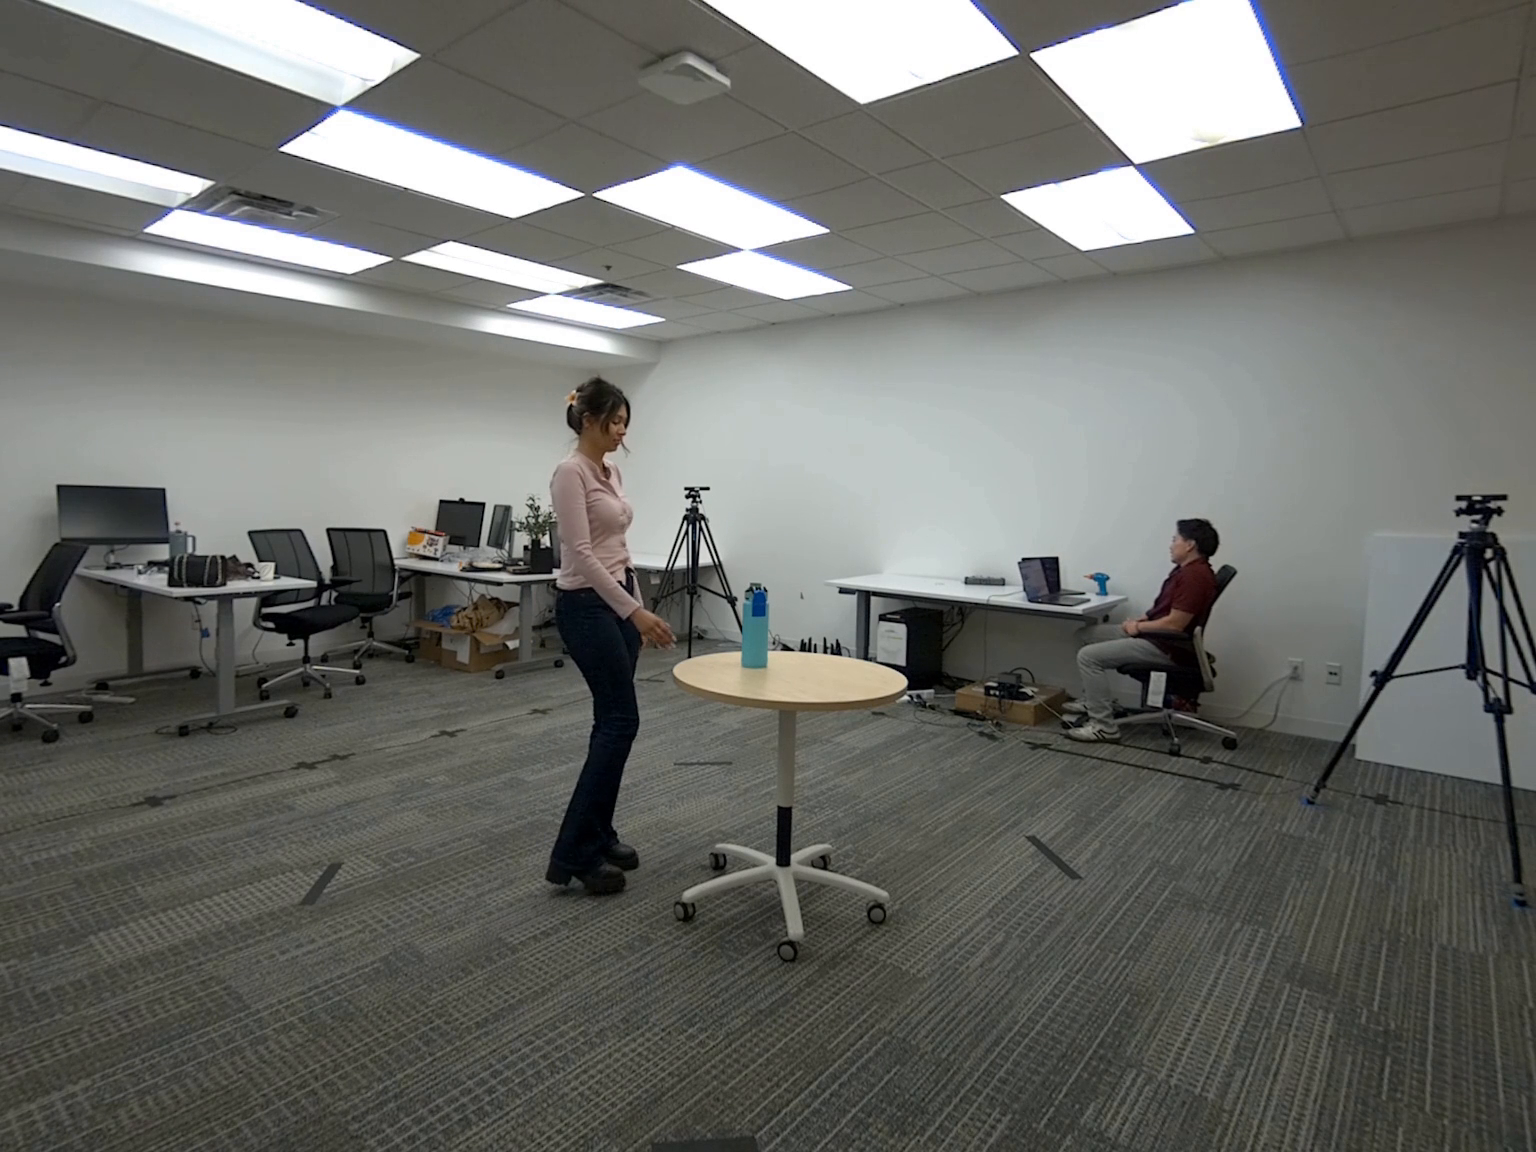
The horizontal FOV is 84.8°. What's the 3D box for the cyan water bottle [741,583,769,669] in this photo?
[{"bbox_3d":[-0.055,0.165,2.890,0.092,0.282,0.093,3,4,-2],"label":"cyan water bottle"}]
